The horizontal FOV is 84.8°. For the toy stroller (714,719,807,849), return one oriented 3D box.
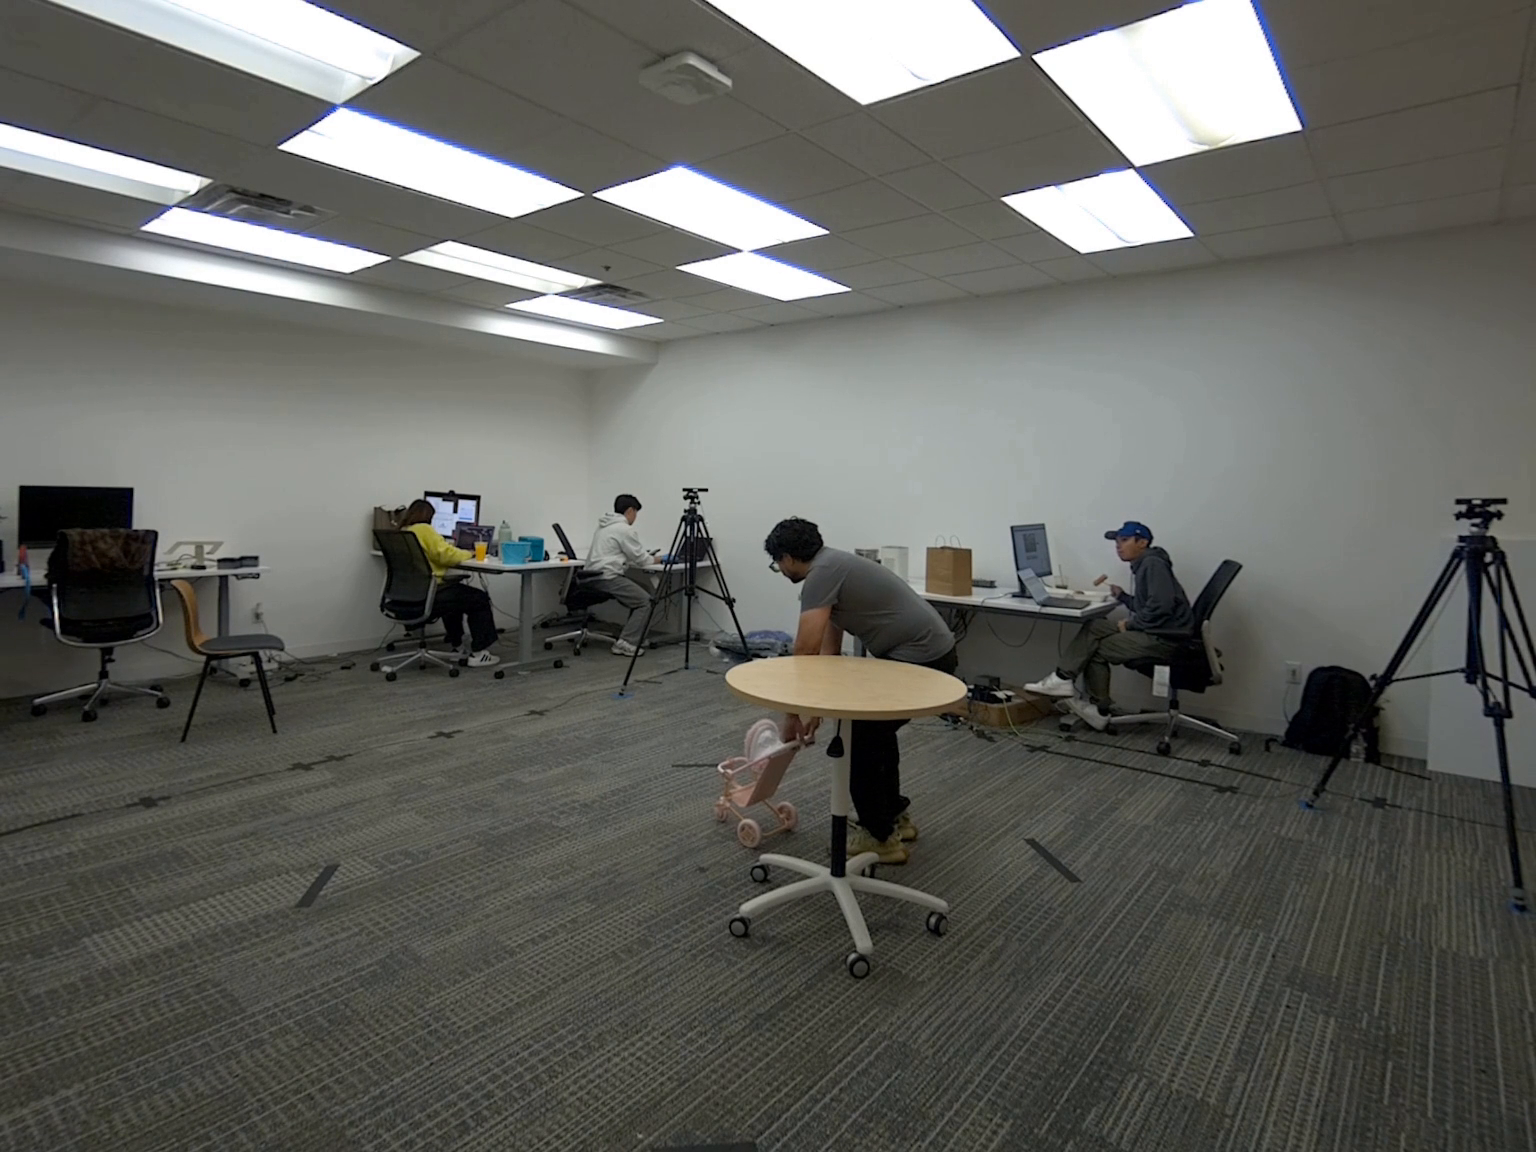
[{"bbox_3d":[-0.054,0.817,3.442,0.355,0.530,0.273,24,17,39],"label":"toy stroller"}]
